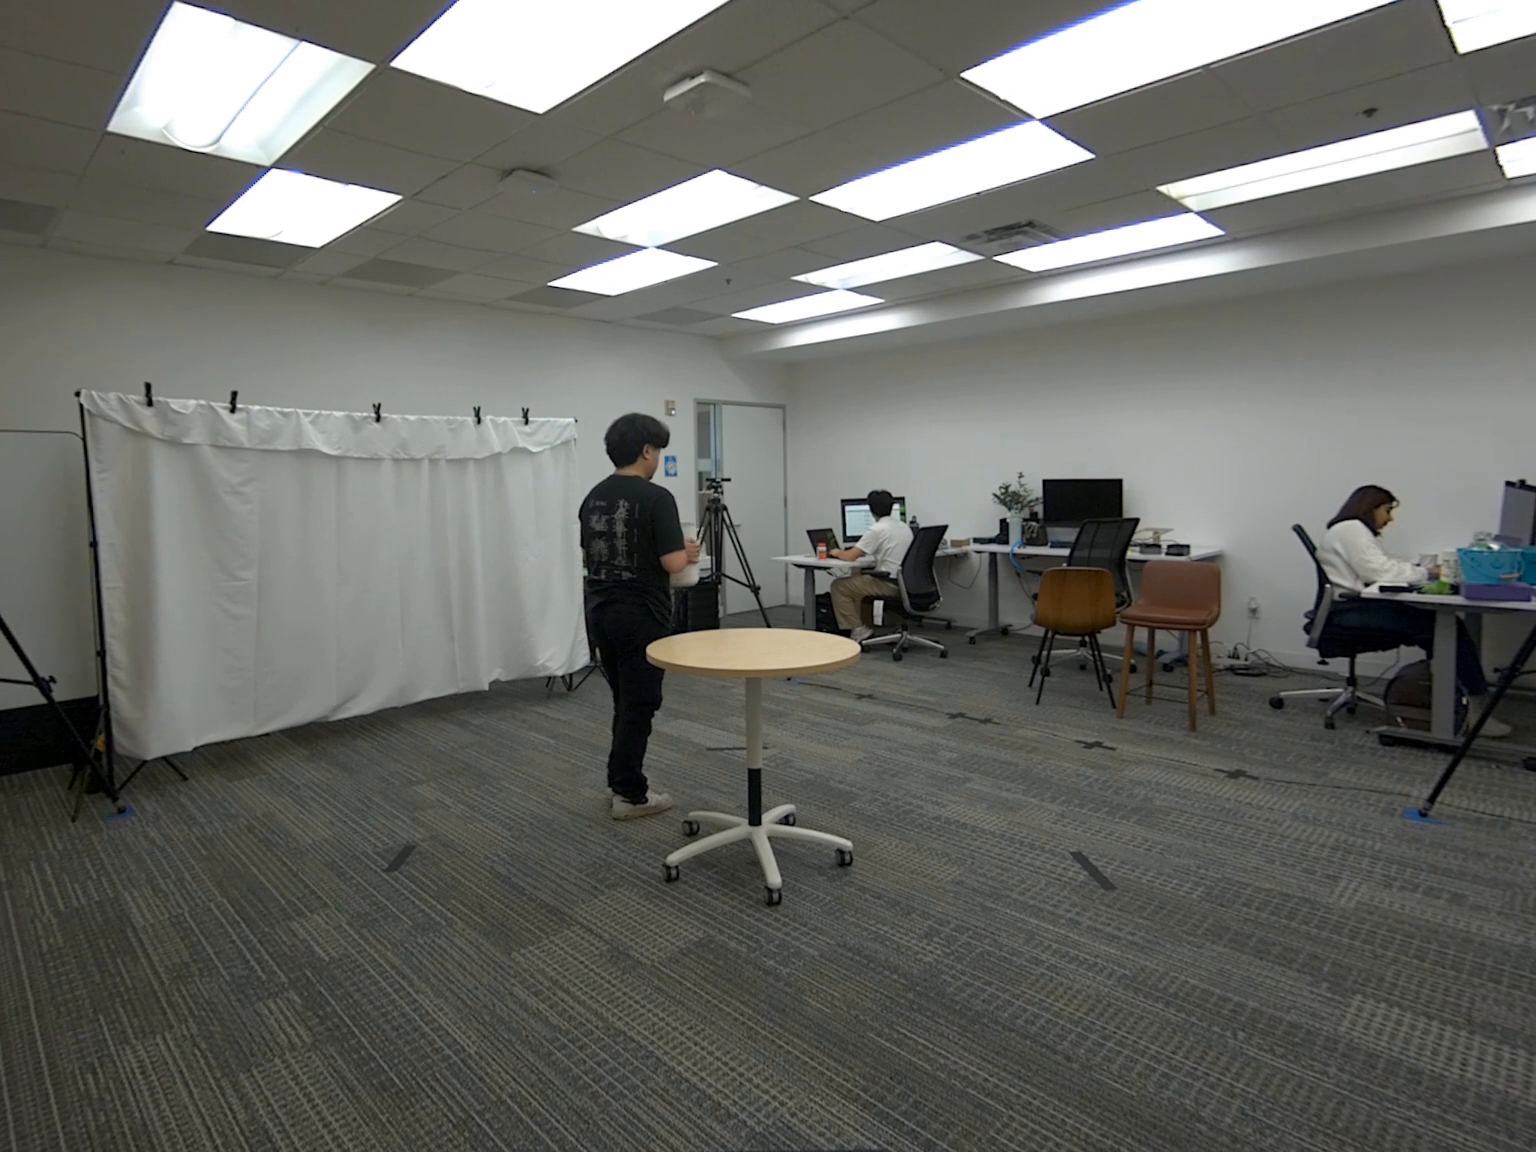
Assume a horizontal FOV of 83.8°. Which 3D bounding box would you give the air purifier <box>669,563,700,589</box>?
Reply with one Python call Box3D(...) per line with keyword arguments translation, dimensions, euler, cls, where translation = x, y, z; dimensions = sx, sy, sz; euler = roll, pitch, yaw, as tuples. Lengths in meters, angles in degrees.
Box3D(translation=(-0.401, -0.089, 3.721), dimensions=(0.172, 0.264, 0.172), euler=(-3, 6, 3), cls="air purifier")
